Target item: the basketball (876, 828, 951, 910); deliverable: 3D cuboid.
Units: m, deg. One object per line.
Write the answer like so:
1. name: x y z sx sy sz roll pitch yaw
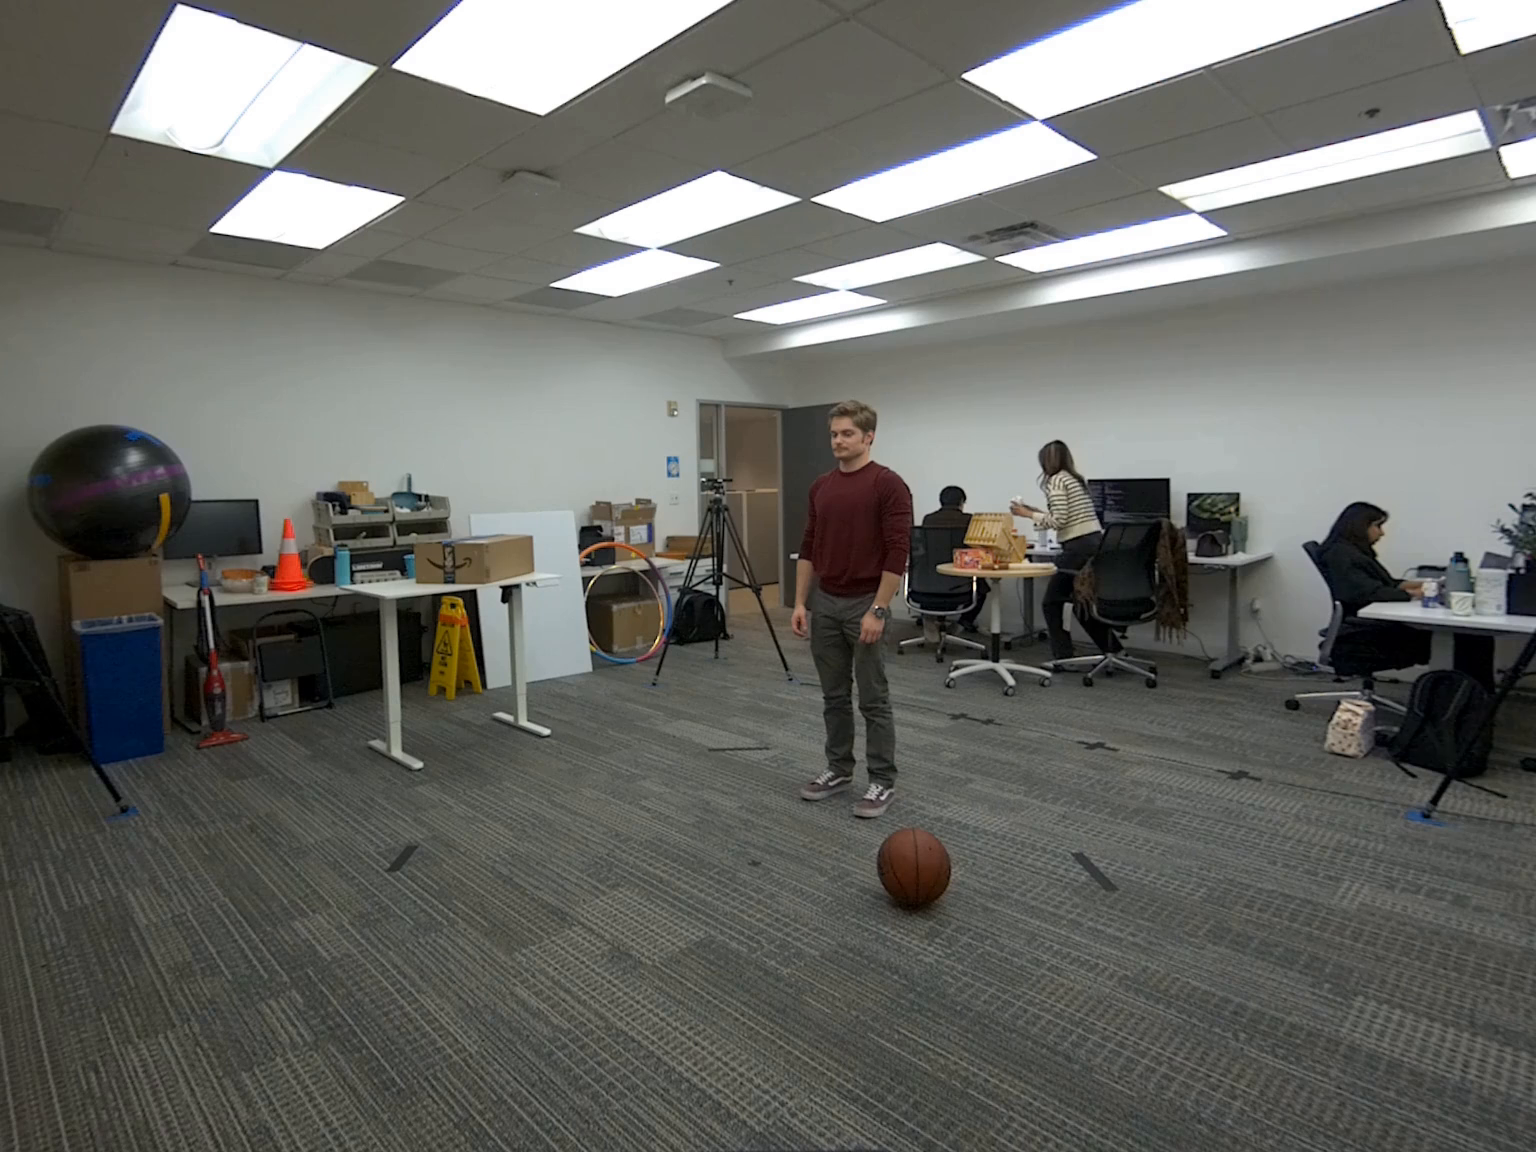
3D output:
1. basketball: 0.482 0.952 2.795 0.236 0.235 0.237 -1 5 -2
